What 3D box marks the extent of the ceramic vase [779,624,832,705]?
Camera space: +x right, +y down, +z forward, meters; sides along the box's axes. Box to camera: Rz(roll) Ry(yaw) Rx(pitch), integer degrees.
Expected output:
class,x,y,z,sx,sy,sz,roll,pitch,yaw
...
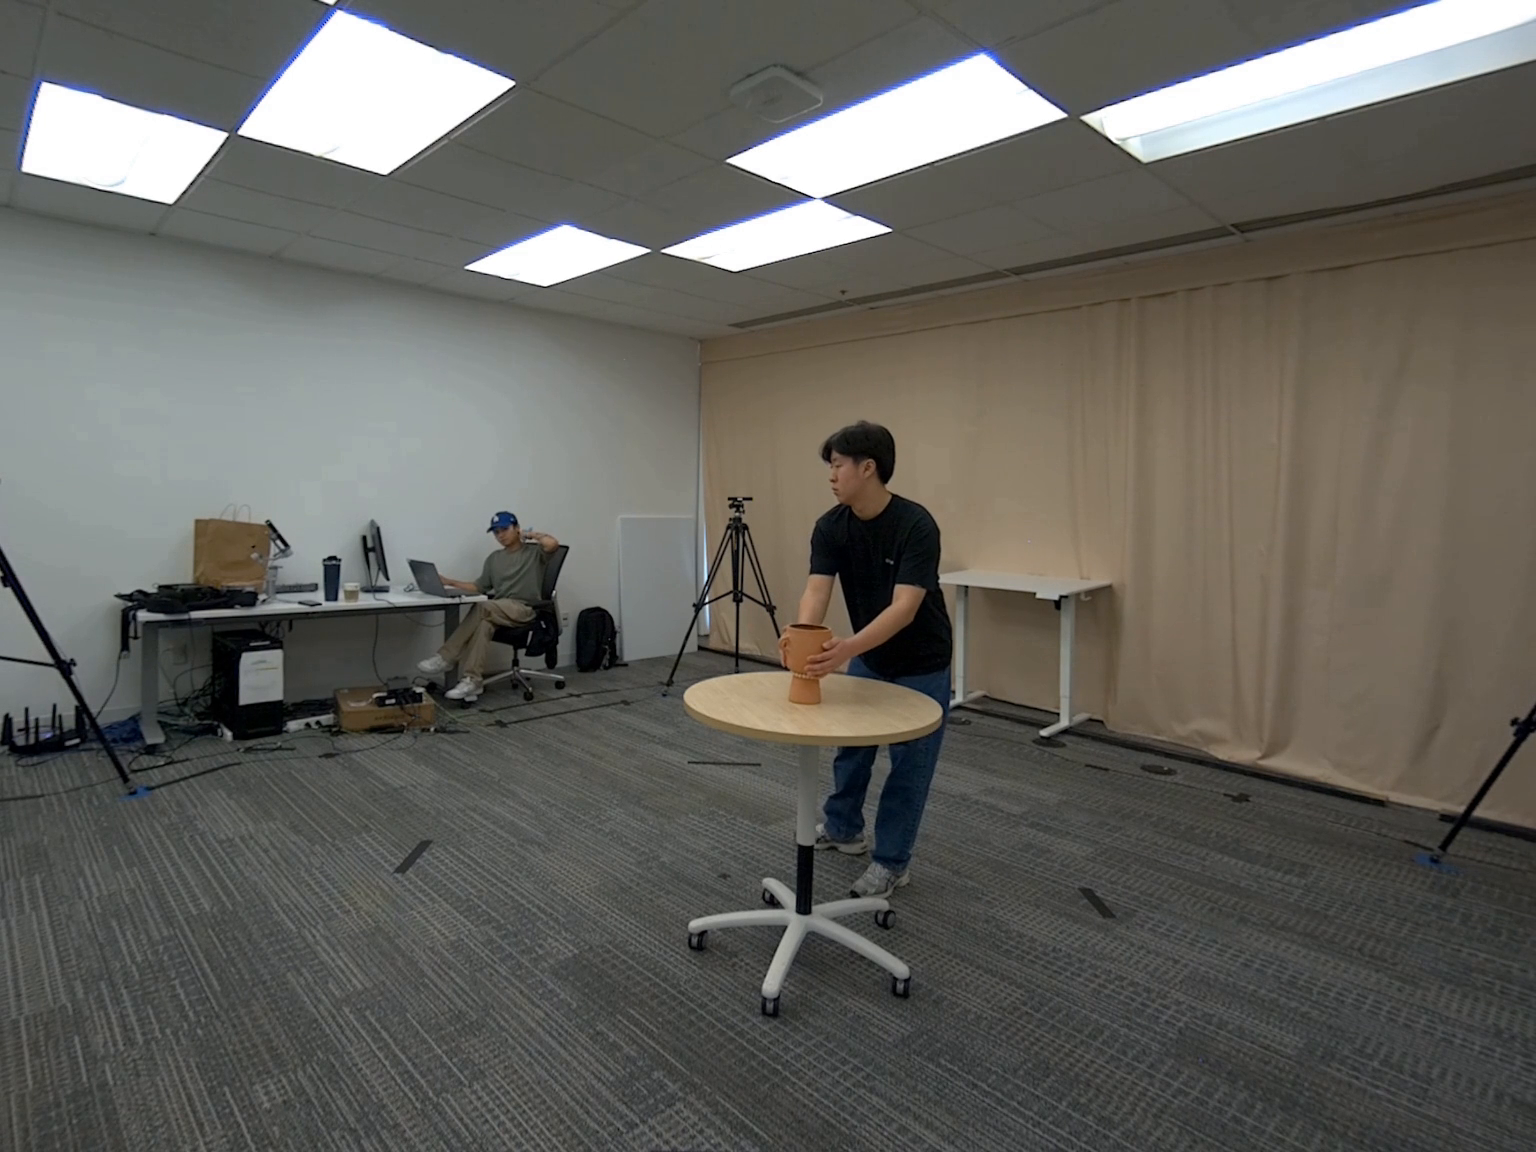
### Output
class,x,y,z,sx,sy,sz,roll,pitch,yaw
ceramic vase,0.113,0.268,2.486,0.160,0.219,0.134,5,3,10
